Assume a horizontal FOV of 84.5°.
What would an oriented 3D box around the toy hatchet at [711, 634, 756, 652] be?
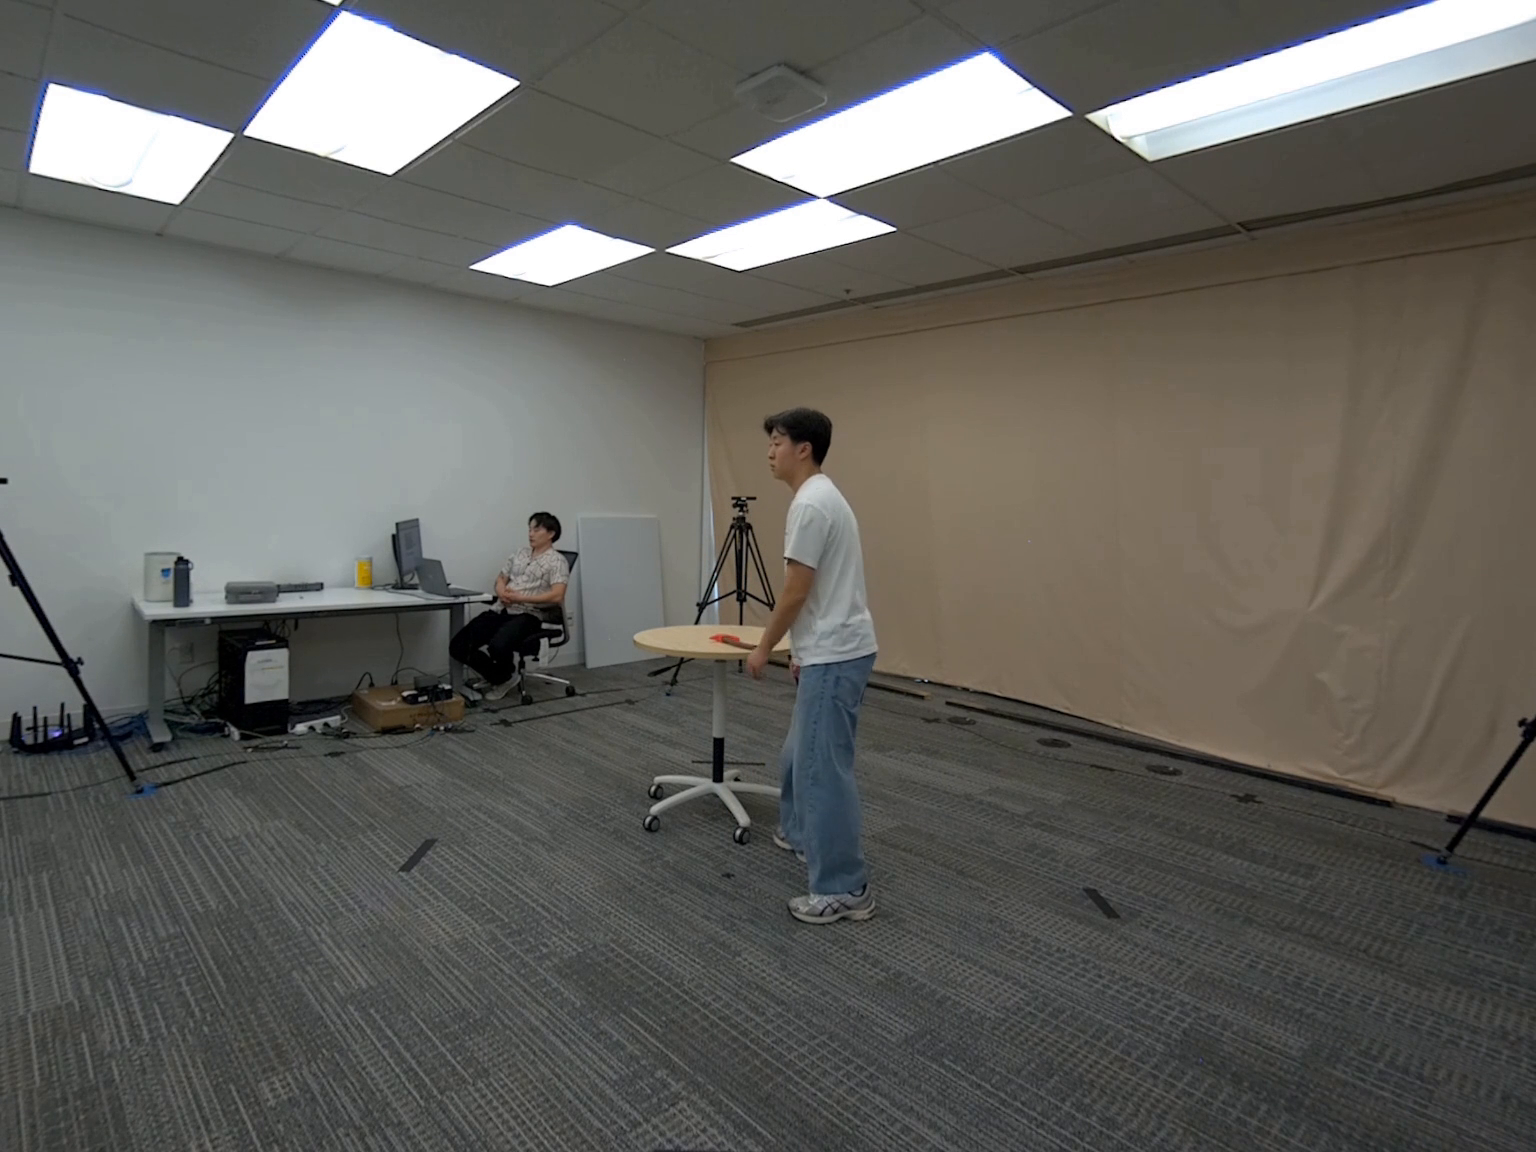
[{"bbox_3d":[-0.124,0.276,3.517,0.128,0.029,0.277,3,4,-44],"label":"toy hatchet"}]
